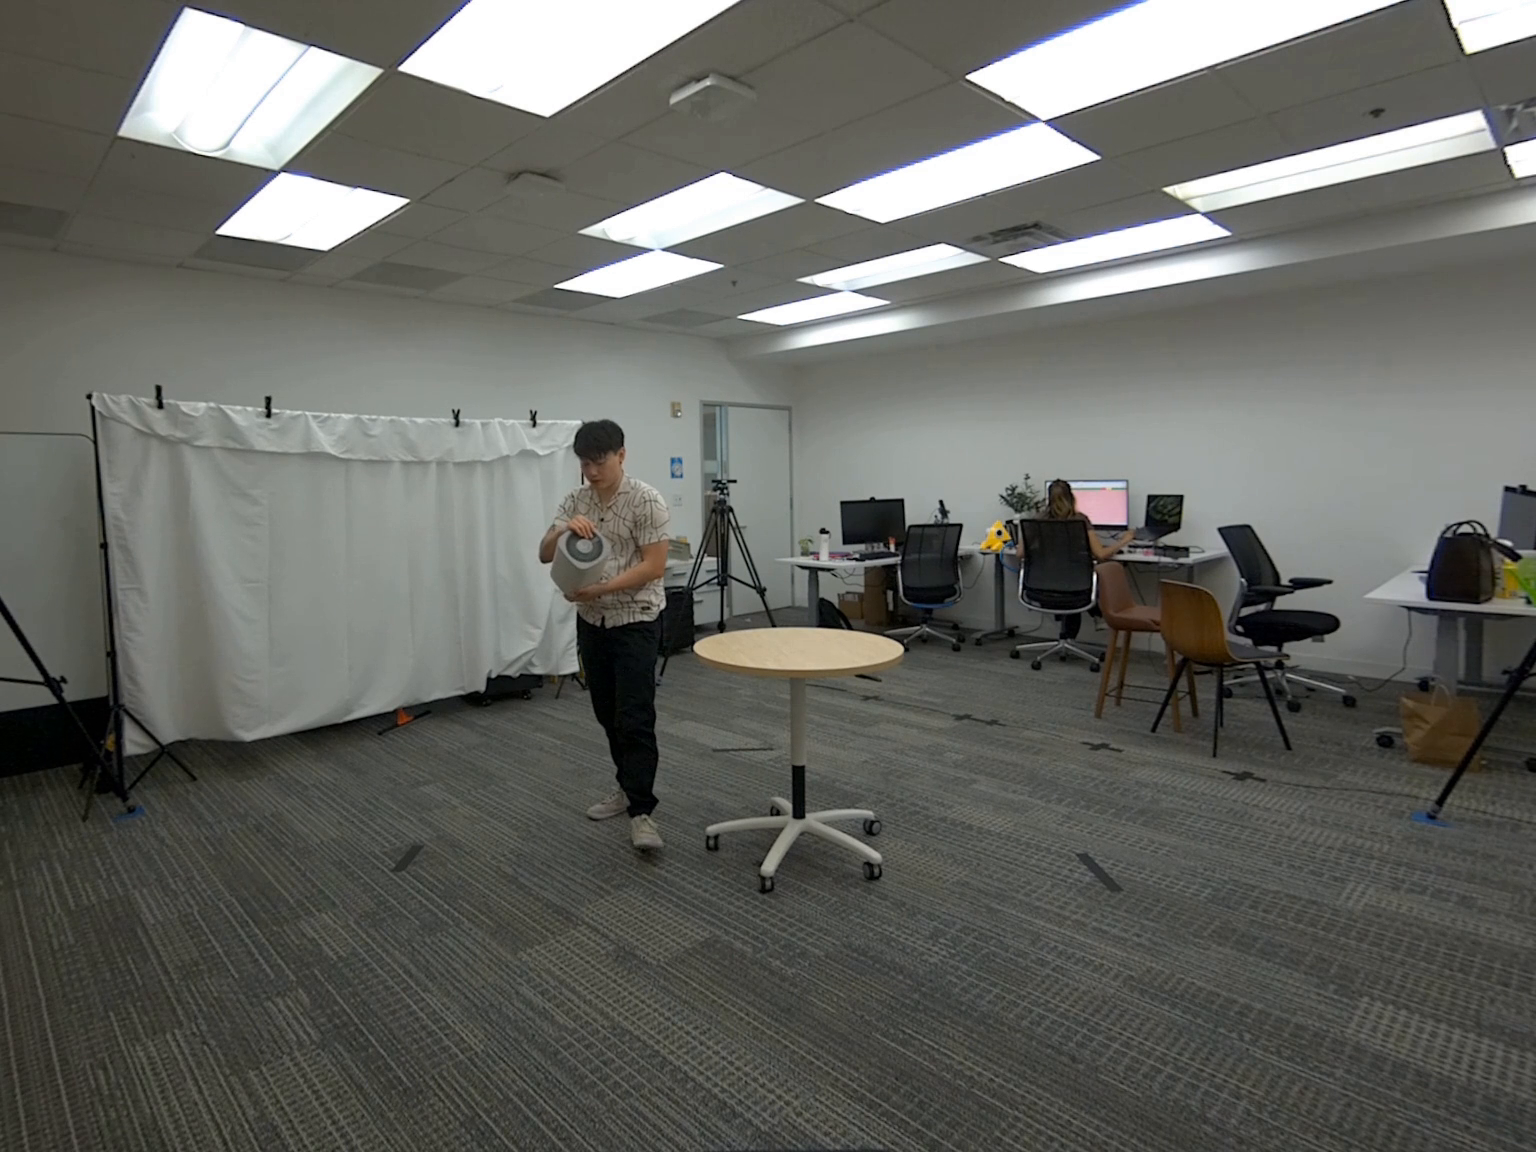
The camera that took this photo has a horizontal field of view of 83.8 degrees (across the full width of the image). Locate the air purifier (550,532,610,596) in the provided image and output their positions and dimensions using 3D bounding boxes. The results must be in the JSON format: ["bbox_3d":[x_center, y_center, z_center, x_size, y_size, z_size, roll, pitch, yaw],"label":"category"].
[{"bbox_3d":[-0.724,-0.049,3.283,0.170,0.174,0.262,-34,-15,-30],"label":"air purifier"}]
